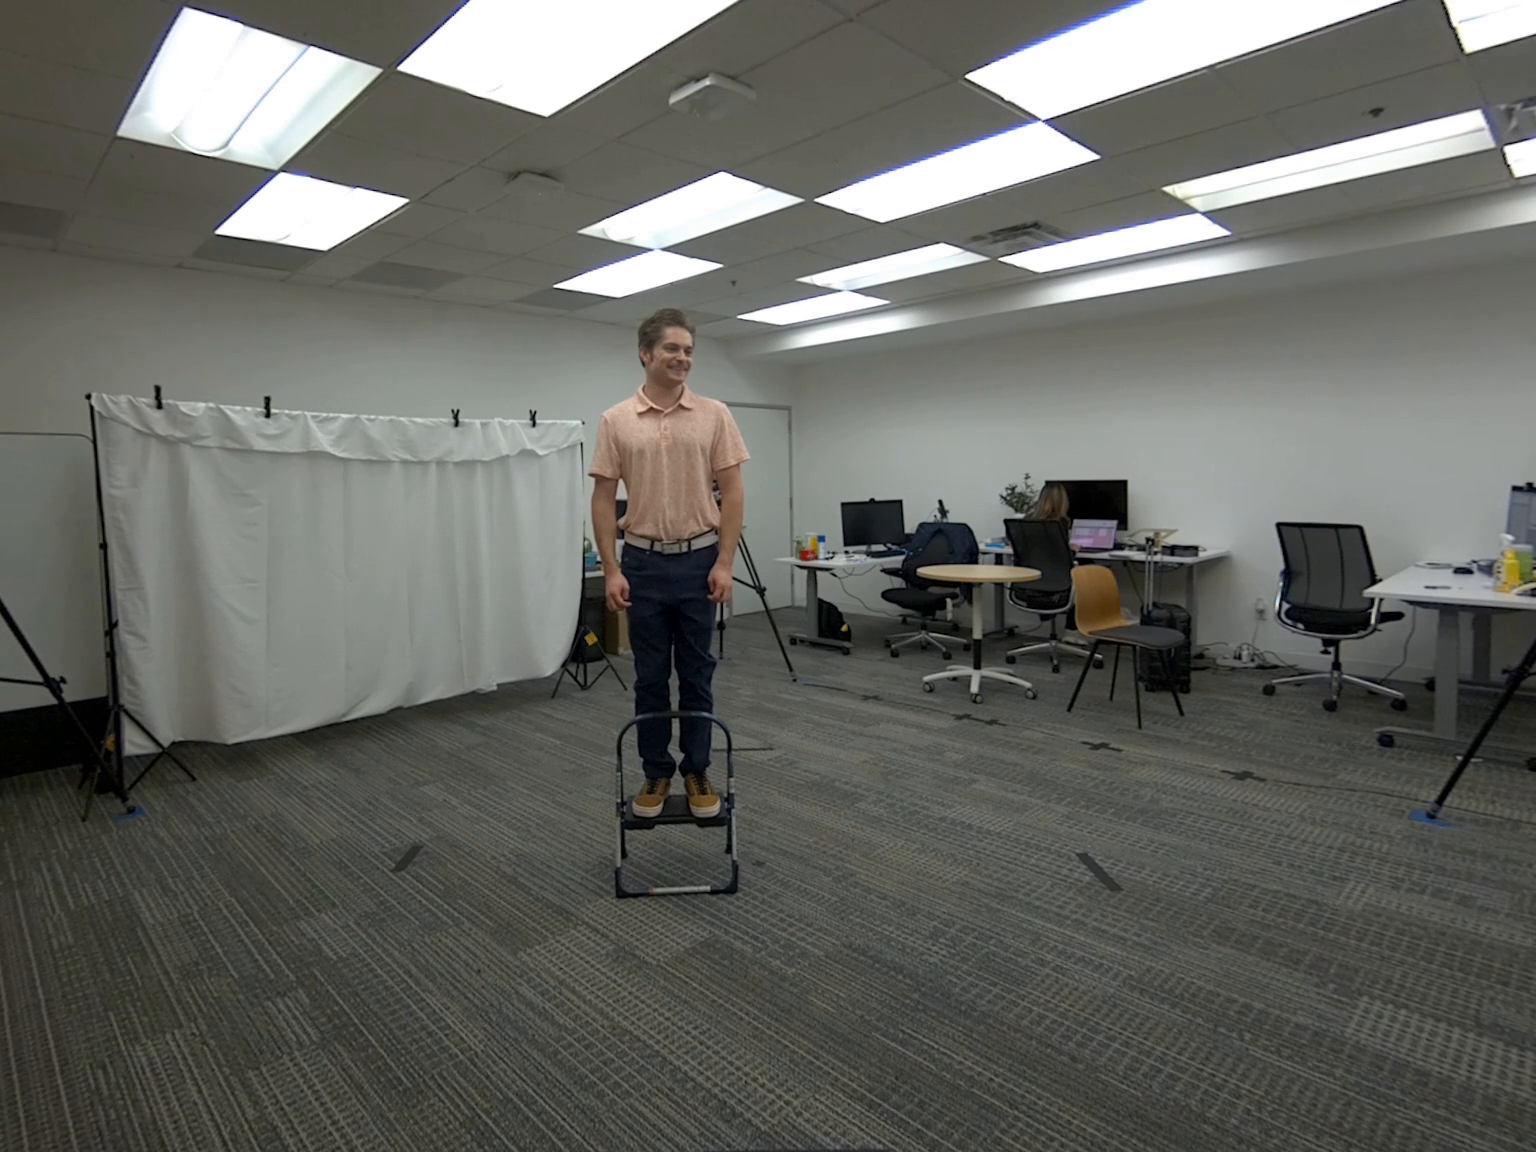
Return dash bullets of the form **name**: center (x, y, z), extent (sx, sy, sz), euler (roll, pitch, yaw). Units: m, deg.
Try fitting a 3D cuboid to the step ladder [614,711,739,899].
- **step ladder**: center (-0.328, 0.763, 3.024), extent (0.429, 0.604, 0.352), euler (-2, 4, -5)
